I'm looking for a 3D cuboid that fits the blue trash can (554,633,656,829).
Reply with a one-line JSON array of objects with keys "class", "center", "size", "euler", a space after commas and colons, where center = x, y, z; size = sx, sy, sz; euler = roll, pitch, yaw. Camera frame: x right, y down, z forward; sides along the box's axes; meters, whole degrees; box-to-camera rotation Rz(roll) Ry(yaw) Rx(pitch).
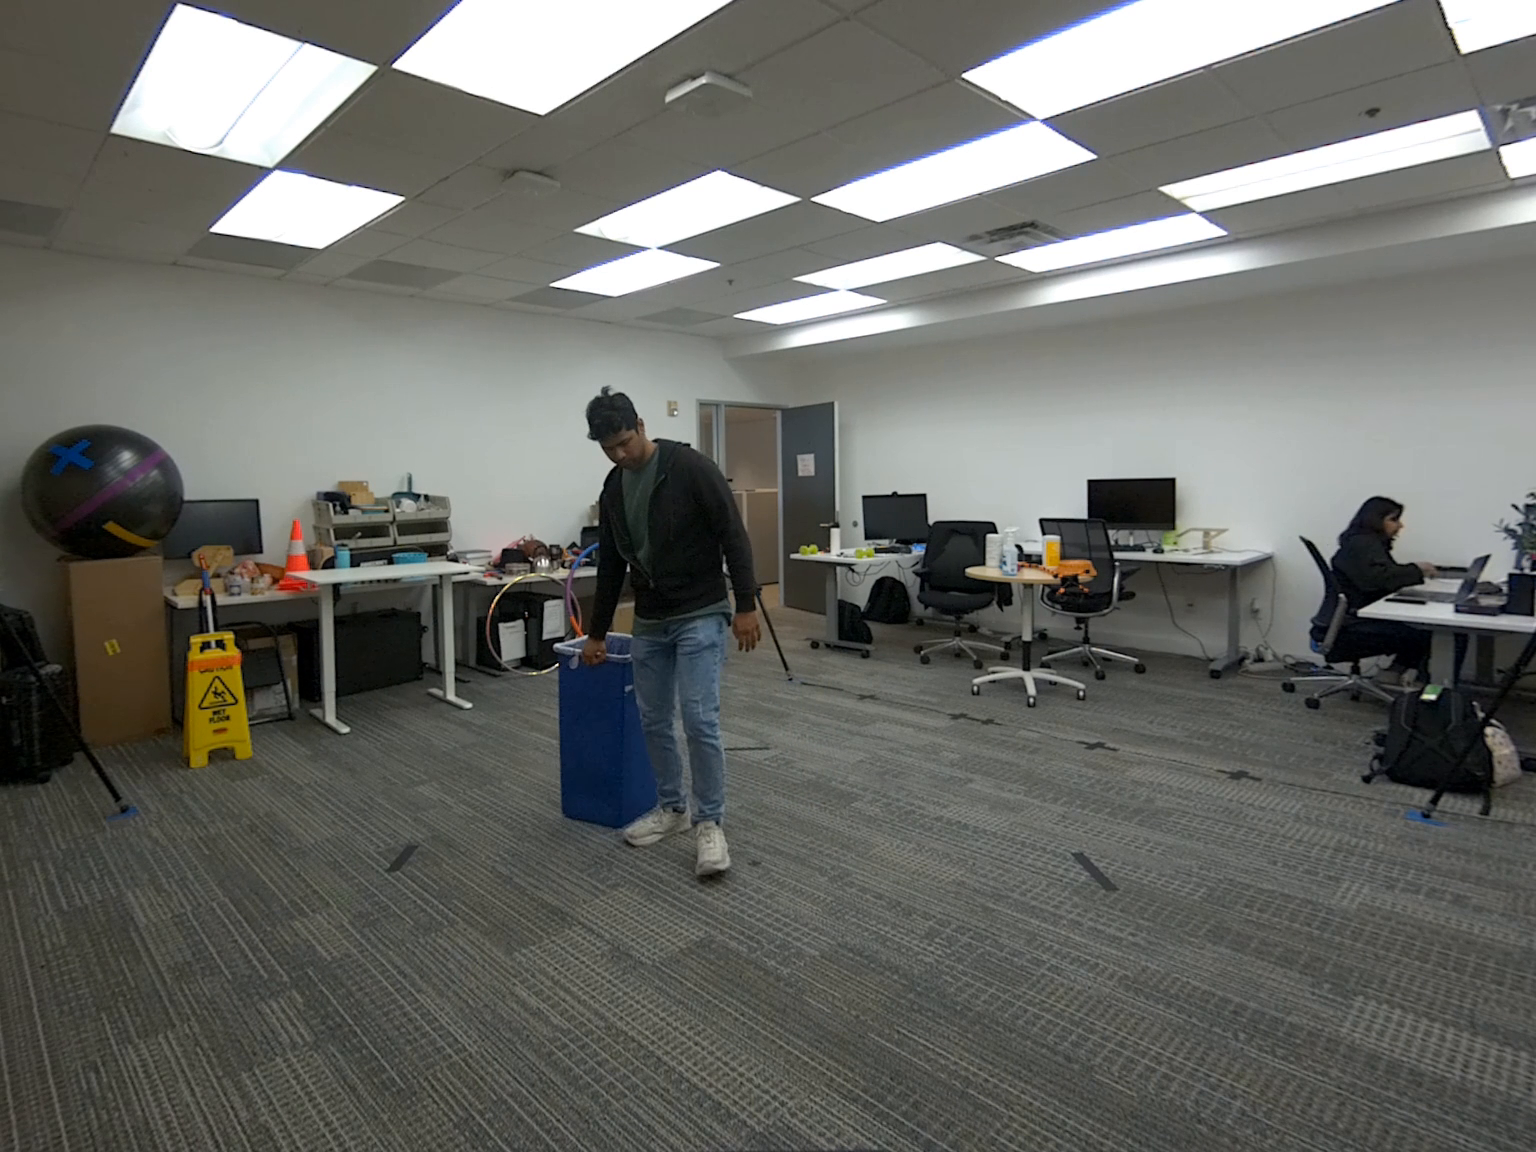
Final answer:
[{"class": "blue trash can", "center": [-0.651, 0.635, 3.603], "size": [0.383, 0.710, 0.370], "euler": [3, 5, 26]}]
